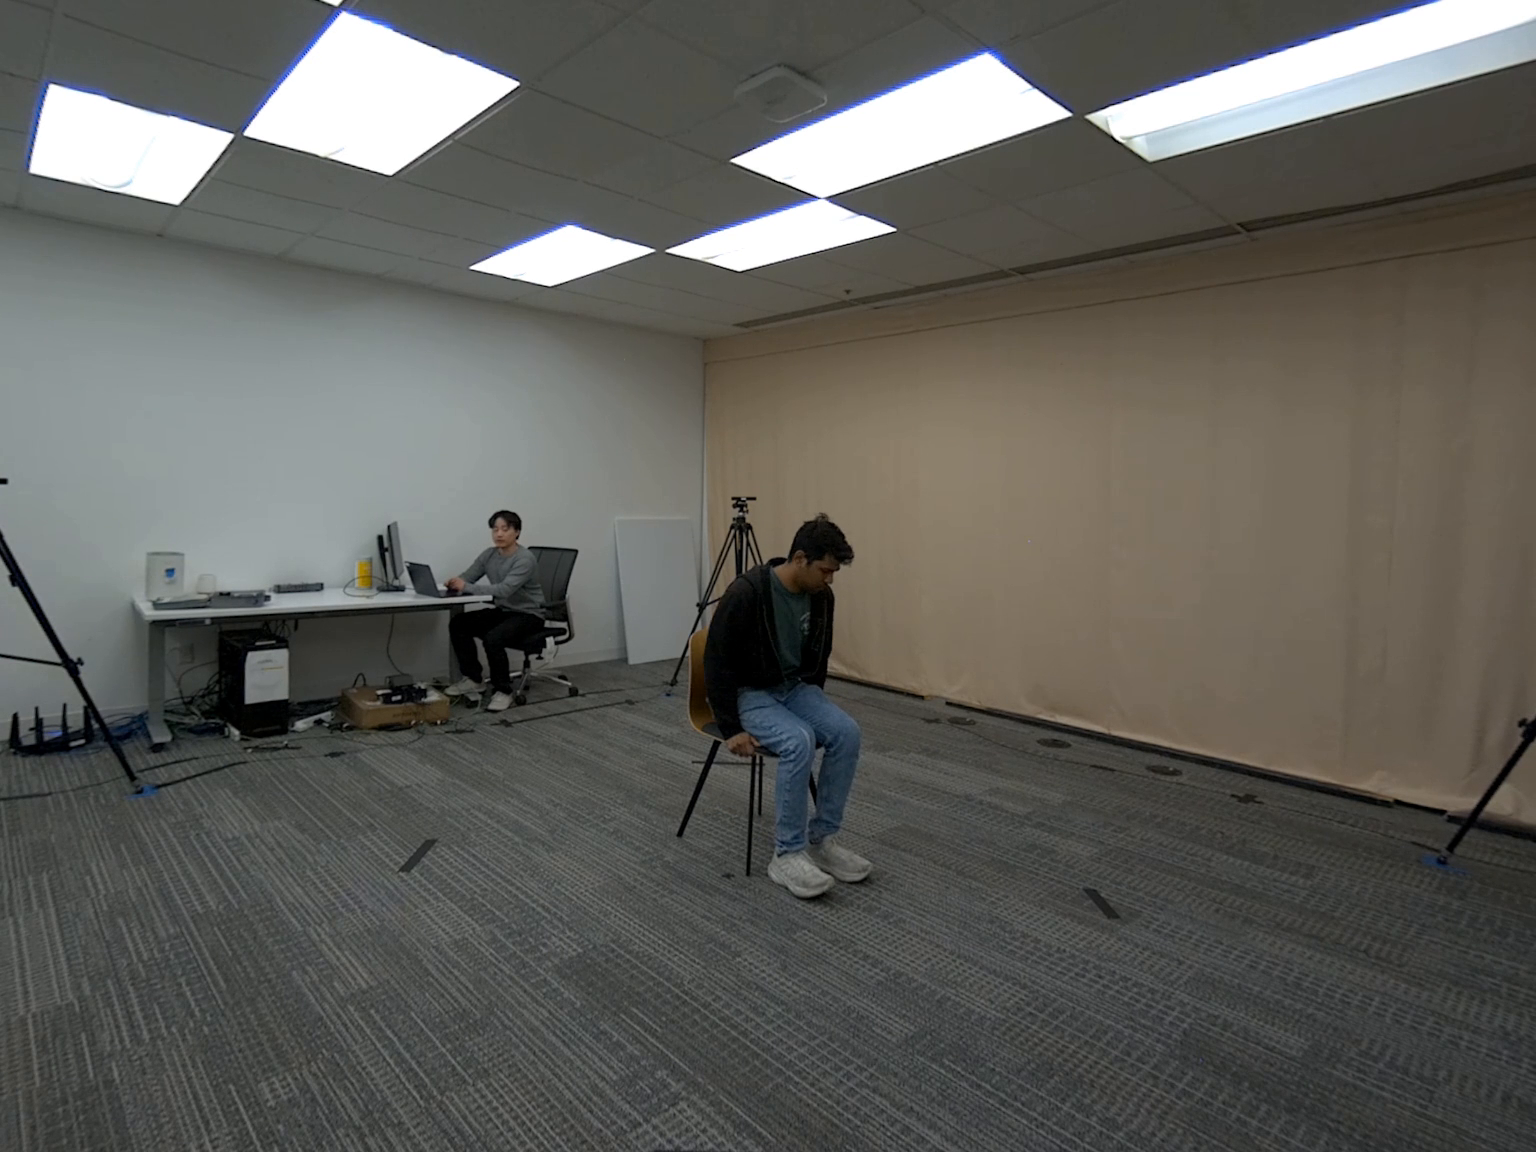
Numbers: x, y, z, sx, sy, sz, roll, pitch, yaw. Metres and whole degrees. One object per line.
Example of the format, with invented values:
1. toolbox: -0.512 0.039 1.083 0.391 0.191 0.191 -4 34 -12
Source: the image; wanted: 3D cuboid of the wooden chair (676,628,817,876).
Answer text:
1. wooden chair: -0.043 0.659 3.382 0.467 0.877 0.535 -1 1 -40
